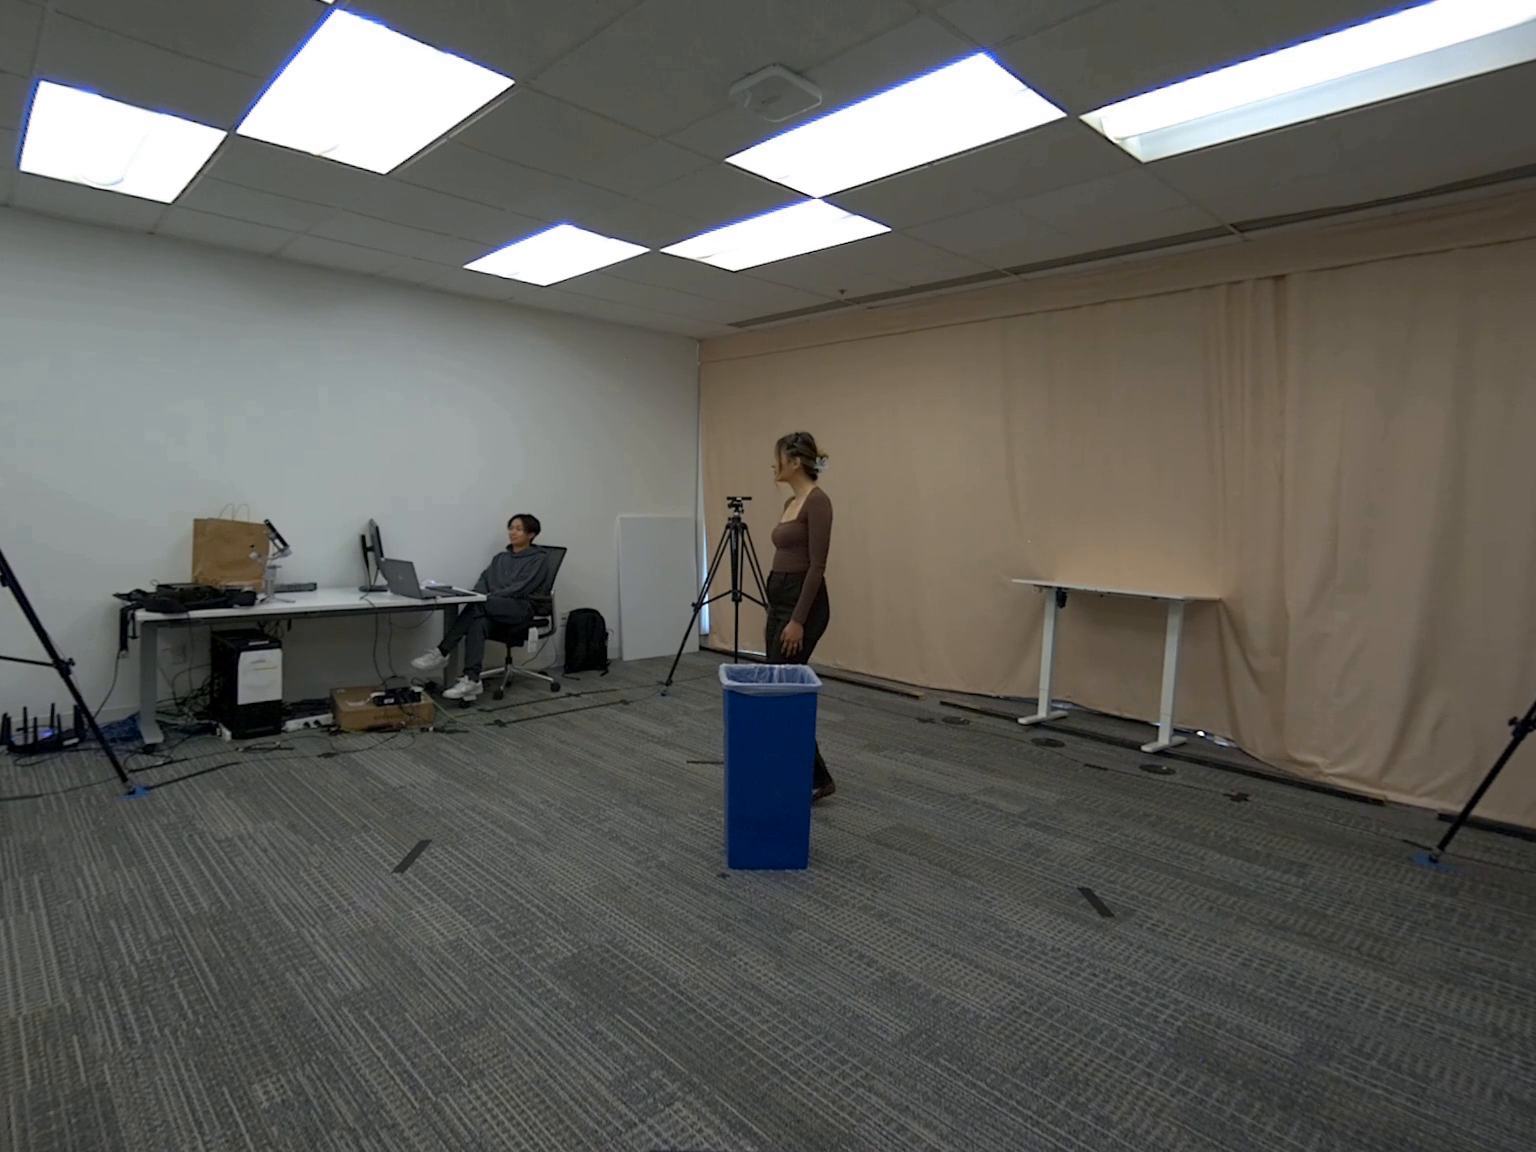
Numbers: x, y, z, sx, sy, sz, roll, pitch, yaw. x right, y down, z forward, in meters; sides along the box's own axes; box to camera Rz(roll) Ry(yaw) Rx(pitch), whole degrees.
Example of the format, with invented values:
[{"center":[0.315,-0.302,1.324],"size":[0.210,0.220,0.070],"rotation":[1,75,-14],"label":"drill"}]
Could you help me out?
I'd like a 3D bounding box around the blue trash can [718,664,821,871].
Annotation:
[{"center":[-0.019,0.734,3.289],"size":[0.372,0.712,0.380],"rotation":[2,3,-5],"label":"blue trash can"}]
